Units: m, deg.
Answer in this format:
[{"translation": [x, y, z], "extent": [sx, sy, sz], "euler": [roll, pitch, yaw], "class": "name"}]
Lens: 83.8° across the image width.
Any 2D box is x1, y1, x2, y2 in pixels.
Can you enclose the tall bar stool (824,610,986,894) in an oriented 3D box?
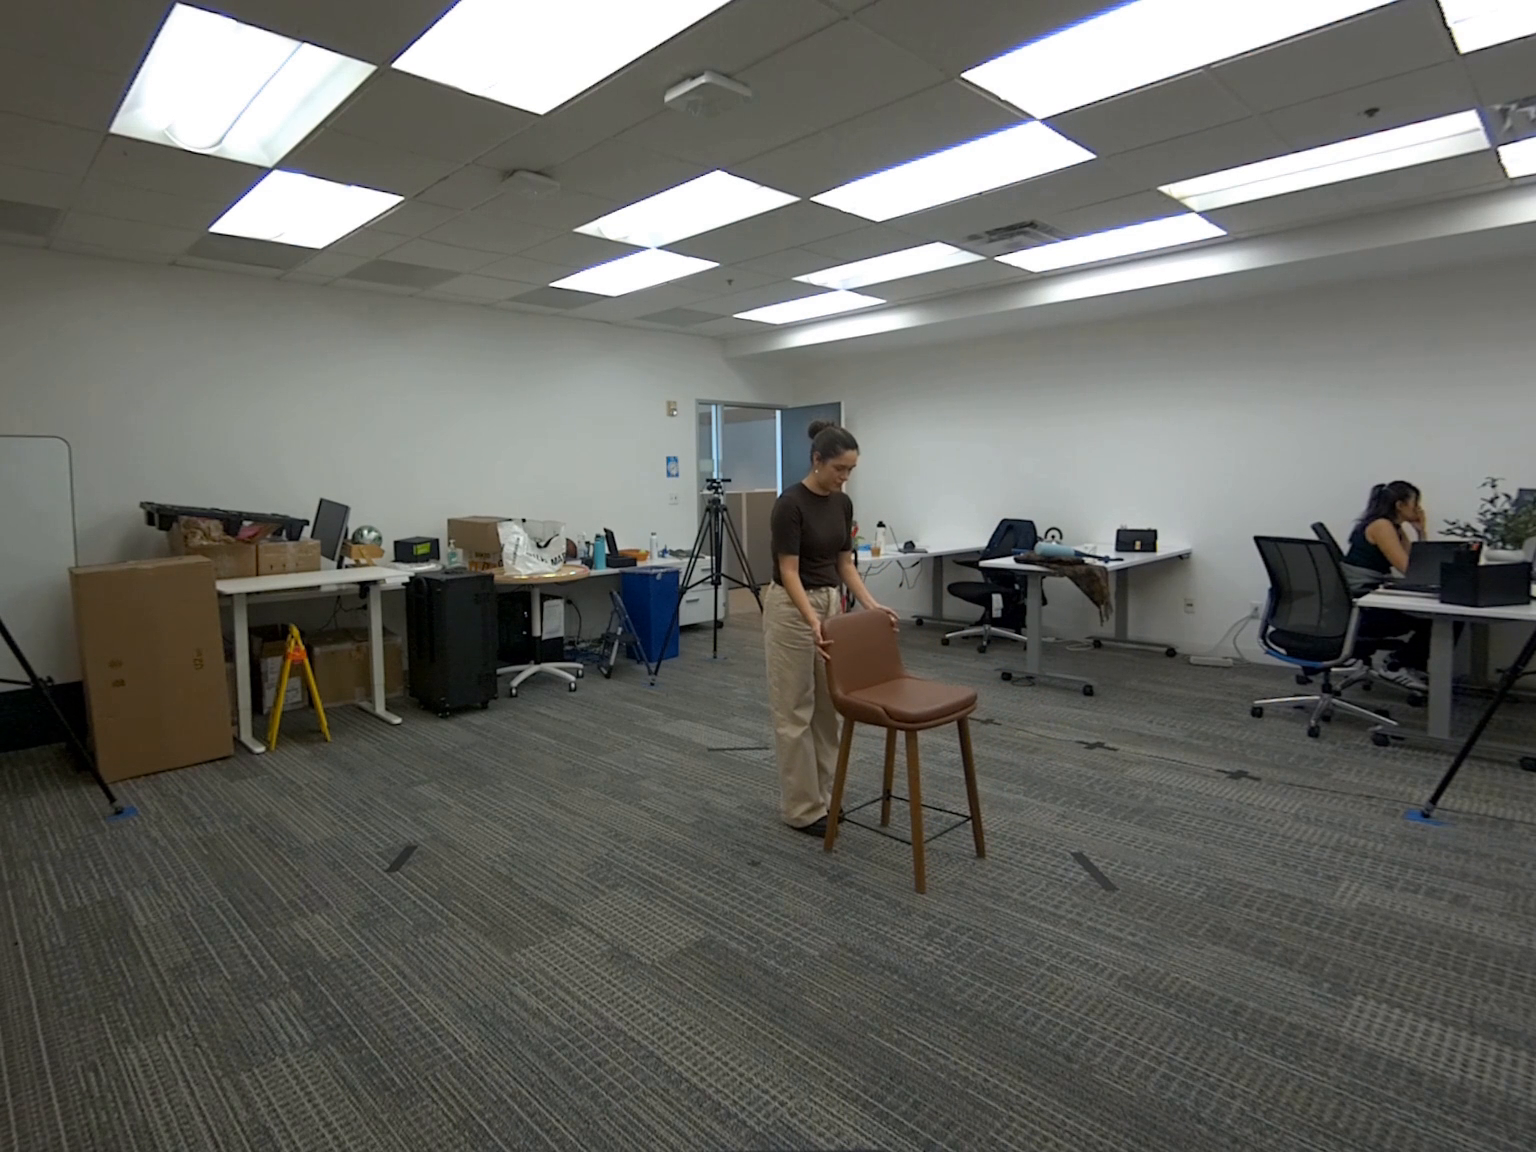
[{"translation": [0.486, 0.591, 3.134], "extent": [0.444, 0.888, 0.481], "euler": [-4, 3, -44], "class": "tall bar stool"}]
